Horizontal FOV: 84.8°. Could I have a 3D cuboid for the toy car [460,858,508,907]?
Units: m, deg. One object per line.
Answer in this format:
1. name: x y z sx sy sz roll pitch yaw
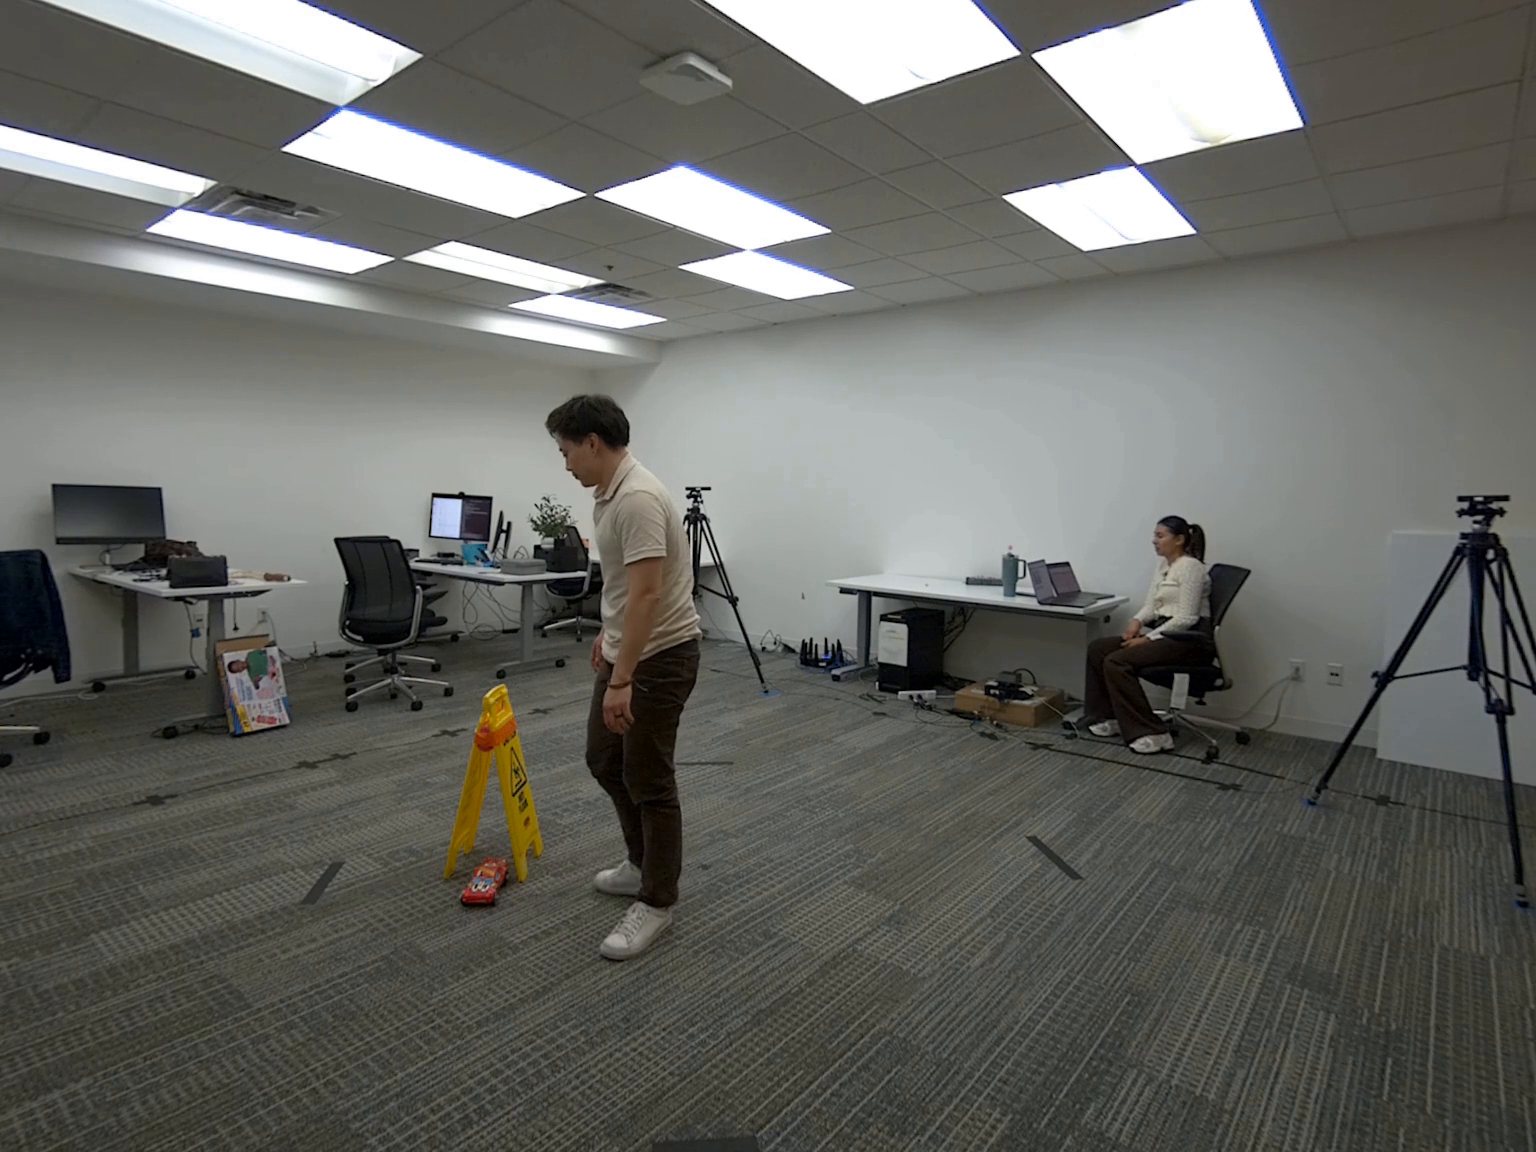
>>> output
1. toy car: -0.978 1.045 2.909 0.130 0.082 0.258 0 16 -2
